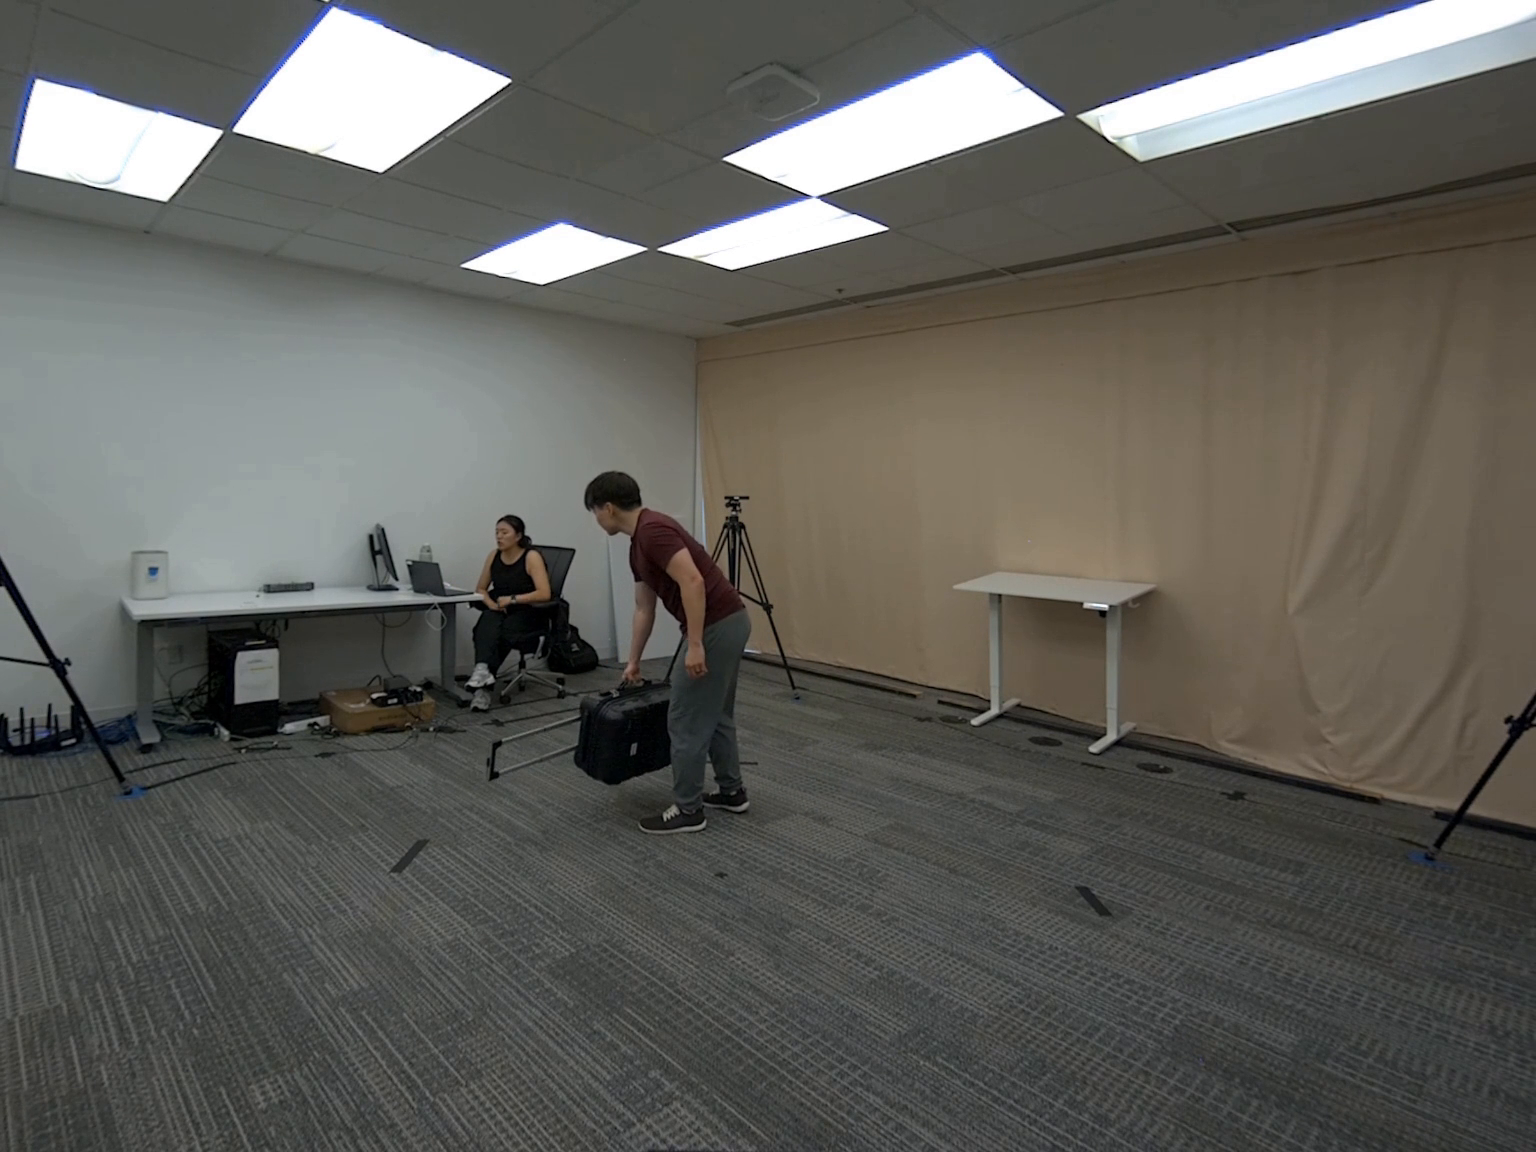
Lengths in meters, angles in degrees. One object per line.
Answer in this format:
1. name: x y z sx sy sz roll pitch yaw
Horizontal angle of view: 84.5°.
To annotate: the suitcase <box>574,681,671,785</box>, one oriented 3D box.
1. suitcase: -0.710 0.690 3.561 0.264 0.382 0.959 15 12 32
